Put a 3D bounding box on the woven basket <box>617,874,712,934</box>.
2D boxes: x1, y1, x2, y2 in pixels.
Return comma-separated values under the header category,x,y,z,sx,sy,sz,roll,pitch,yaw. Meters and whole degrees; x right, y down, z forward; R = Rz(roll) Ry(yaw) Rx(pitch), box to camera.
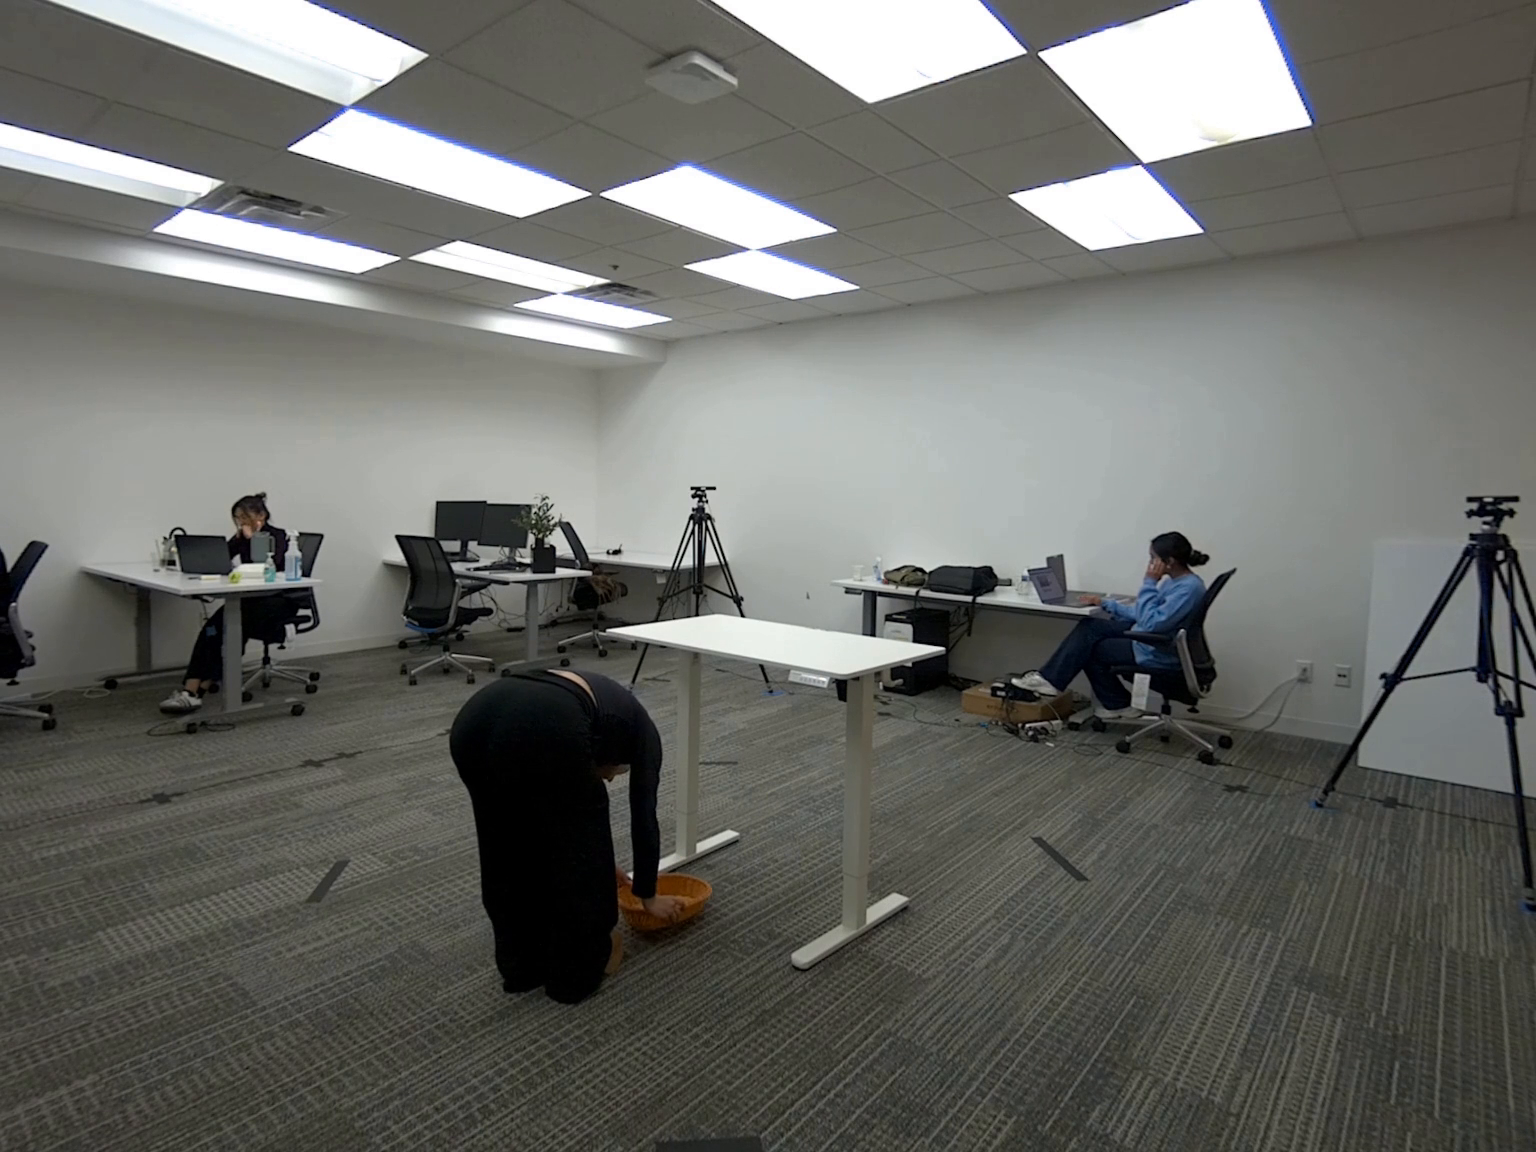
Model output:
category,x,y,z,sx,sy,sz,roll,pitch,yaw
woven basket,-0.353,1.032,2.718,0.260,0.073,0.339,3,1,36
